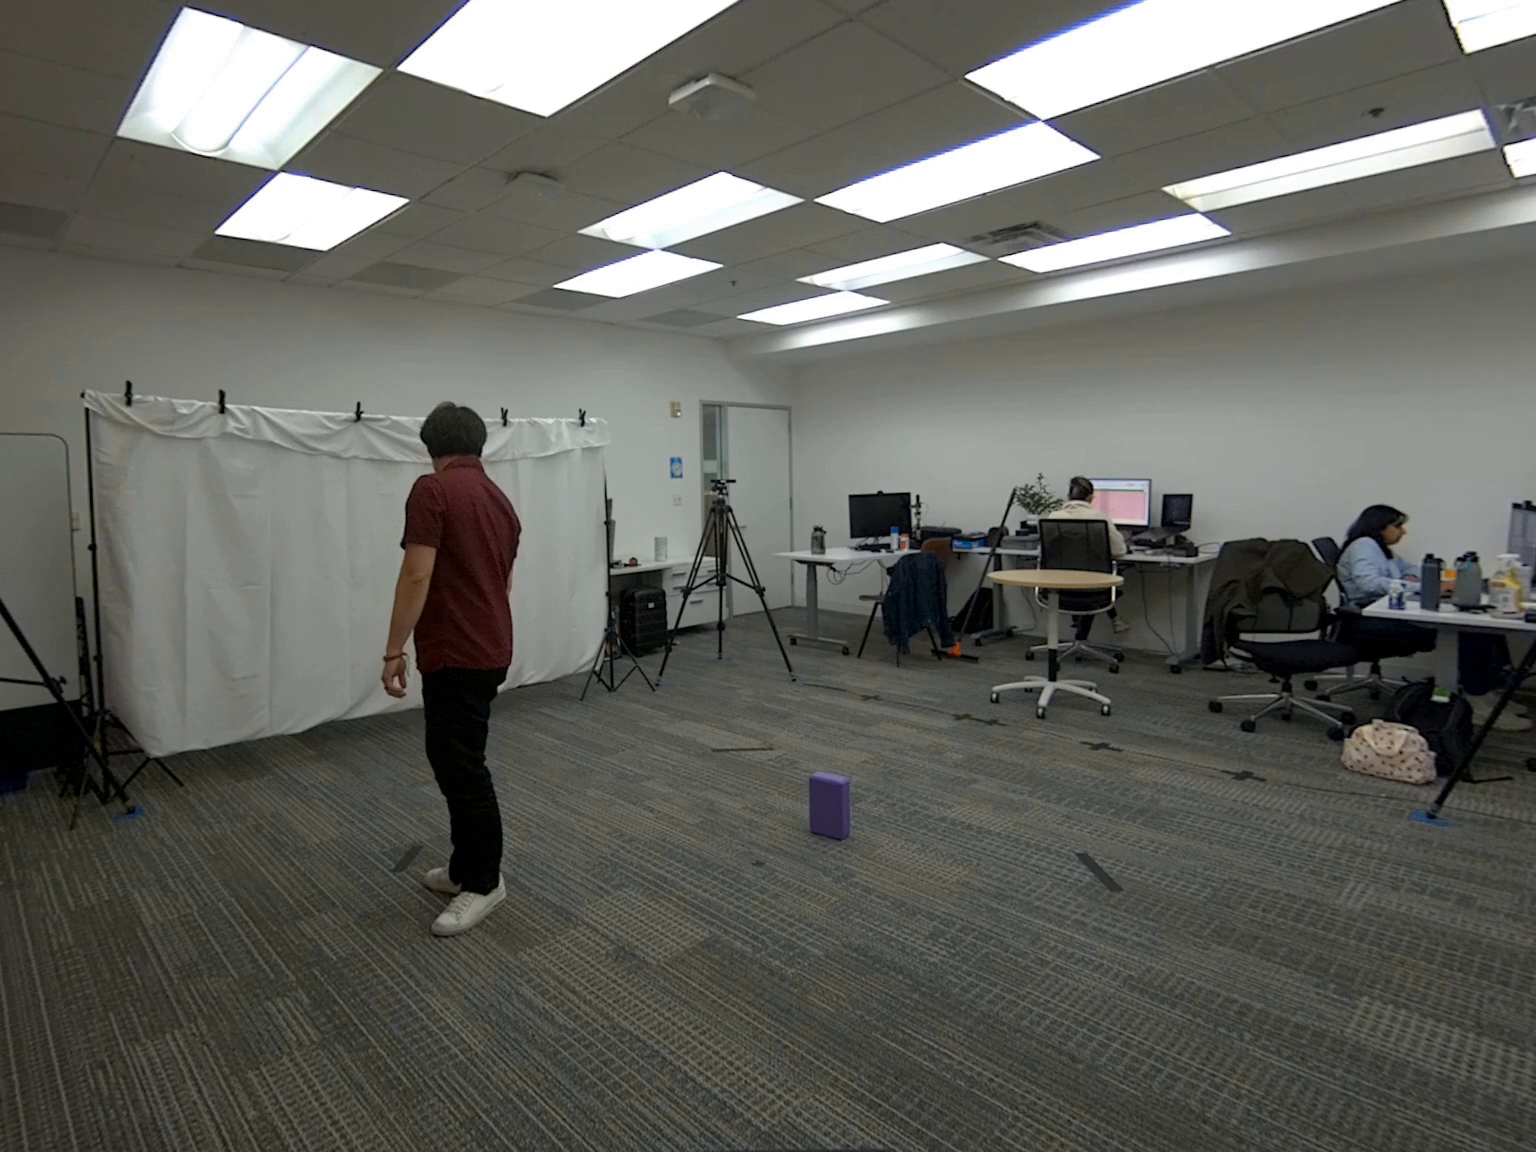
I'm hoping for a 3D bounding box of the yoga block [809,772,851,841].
[{"bbox_3d":[0.242,0.899,3.354,0.153,0.228,0.074,3,5,34],"label":"yoga block"}]
